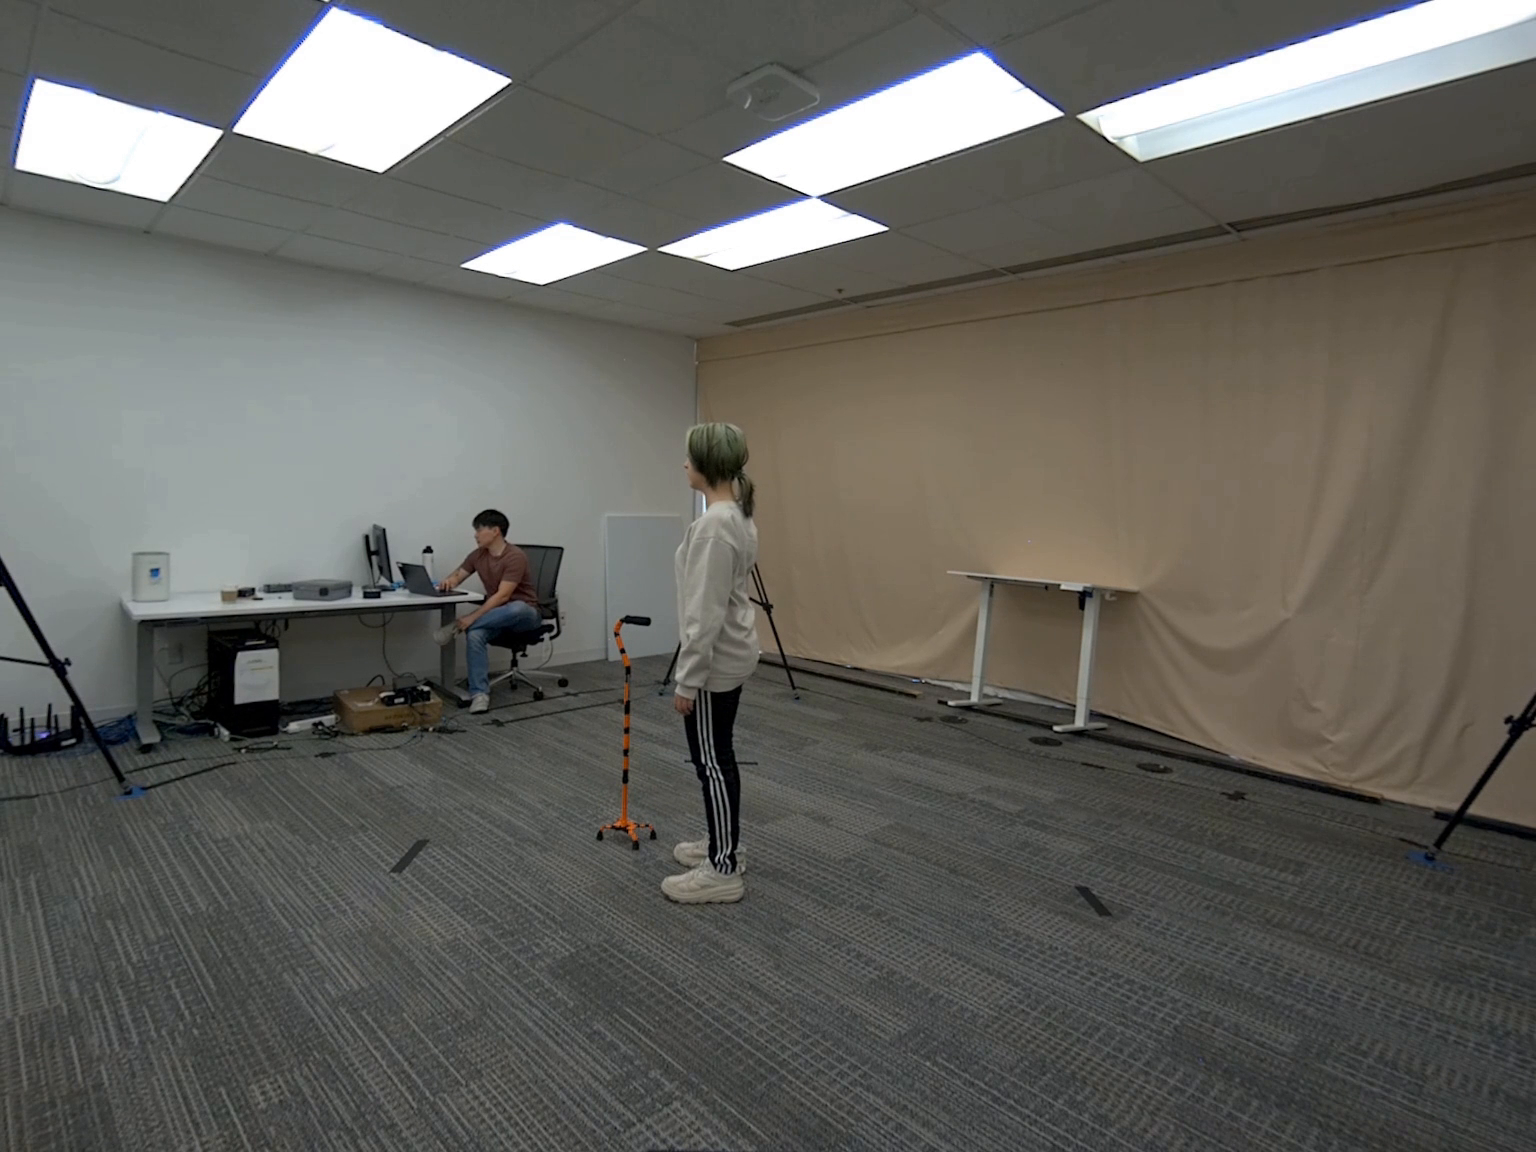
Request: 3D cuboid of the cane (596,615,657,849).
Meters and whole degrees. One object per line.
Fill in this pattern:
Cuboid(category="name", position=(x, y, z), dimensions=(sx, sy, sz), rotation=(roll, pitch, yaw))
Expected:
Cuboid(category="cane", position=(-0.572, 0.616, 3.388), dimensions=(0.210, 0.906, 0.149), rotation=(2, 3, 27))
